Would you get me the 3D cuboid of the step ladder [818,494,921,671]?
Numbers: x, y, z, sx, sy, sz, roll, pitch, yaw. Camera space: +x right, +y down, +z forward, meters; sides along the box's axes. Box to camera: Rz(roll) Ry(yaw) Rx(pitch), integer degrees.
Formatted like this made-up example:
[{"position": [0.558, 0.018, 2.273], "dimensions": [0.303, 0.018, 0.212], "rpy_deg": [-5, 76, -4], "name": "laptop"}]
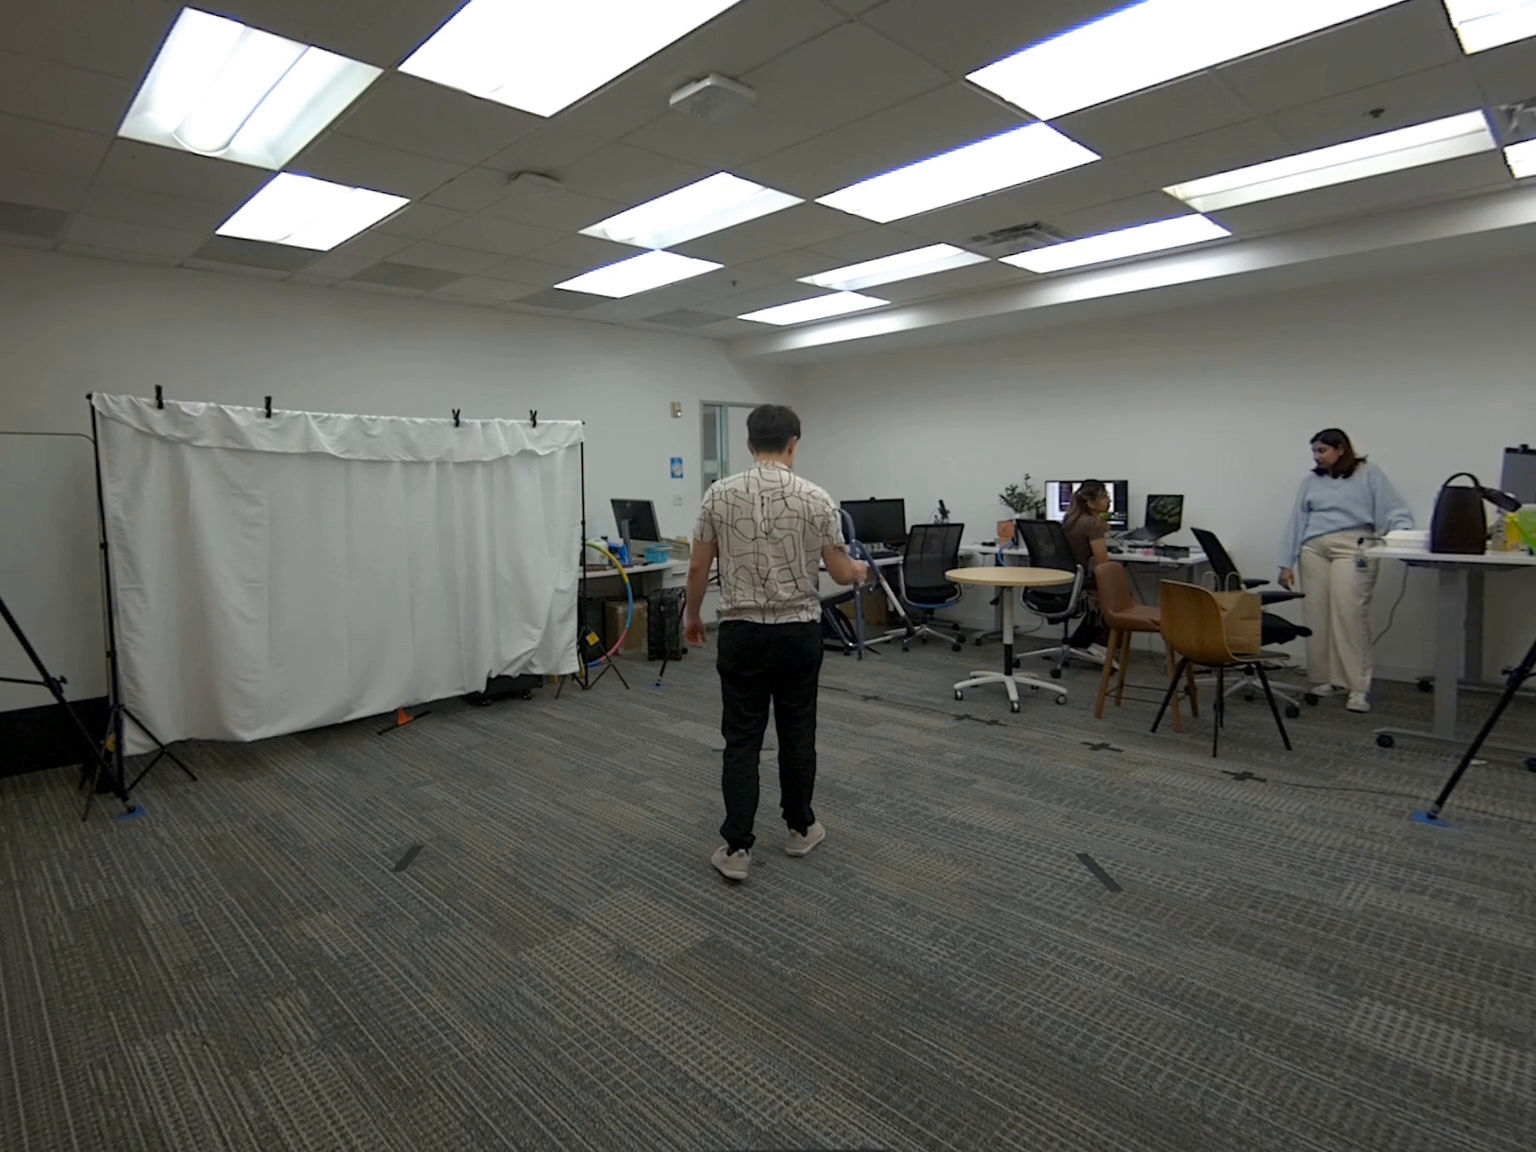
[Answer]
[{"position": [0.257, 0.040, 3.538], "dimensions": [0.342, 0.609, 0.437], "rpy_deg": [-15, -5, -38], "name": "step ladder"}]
